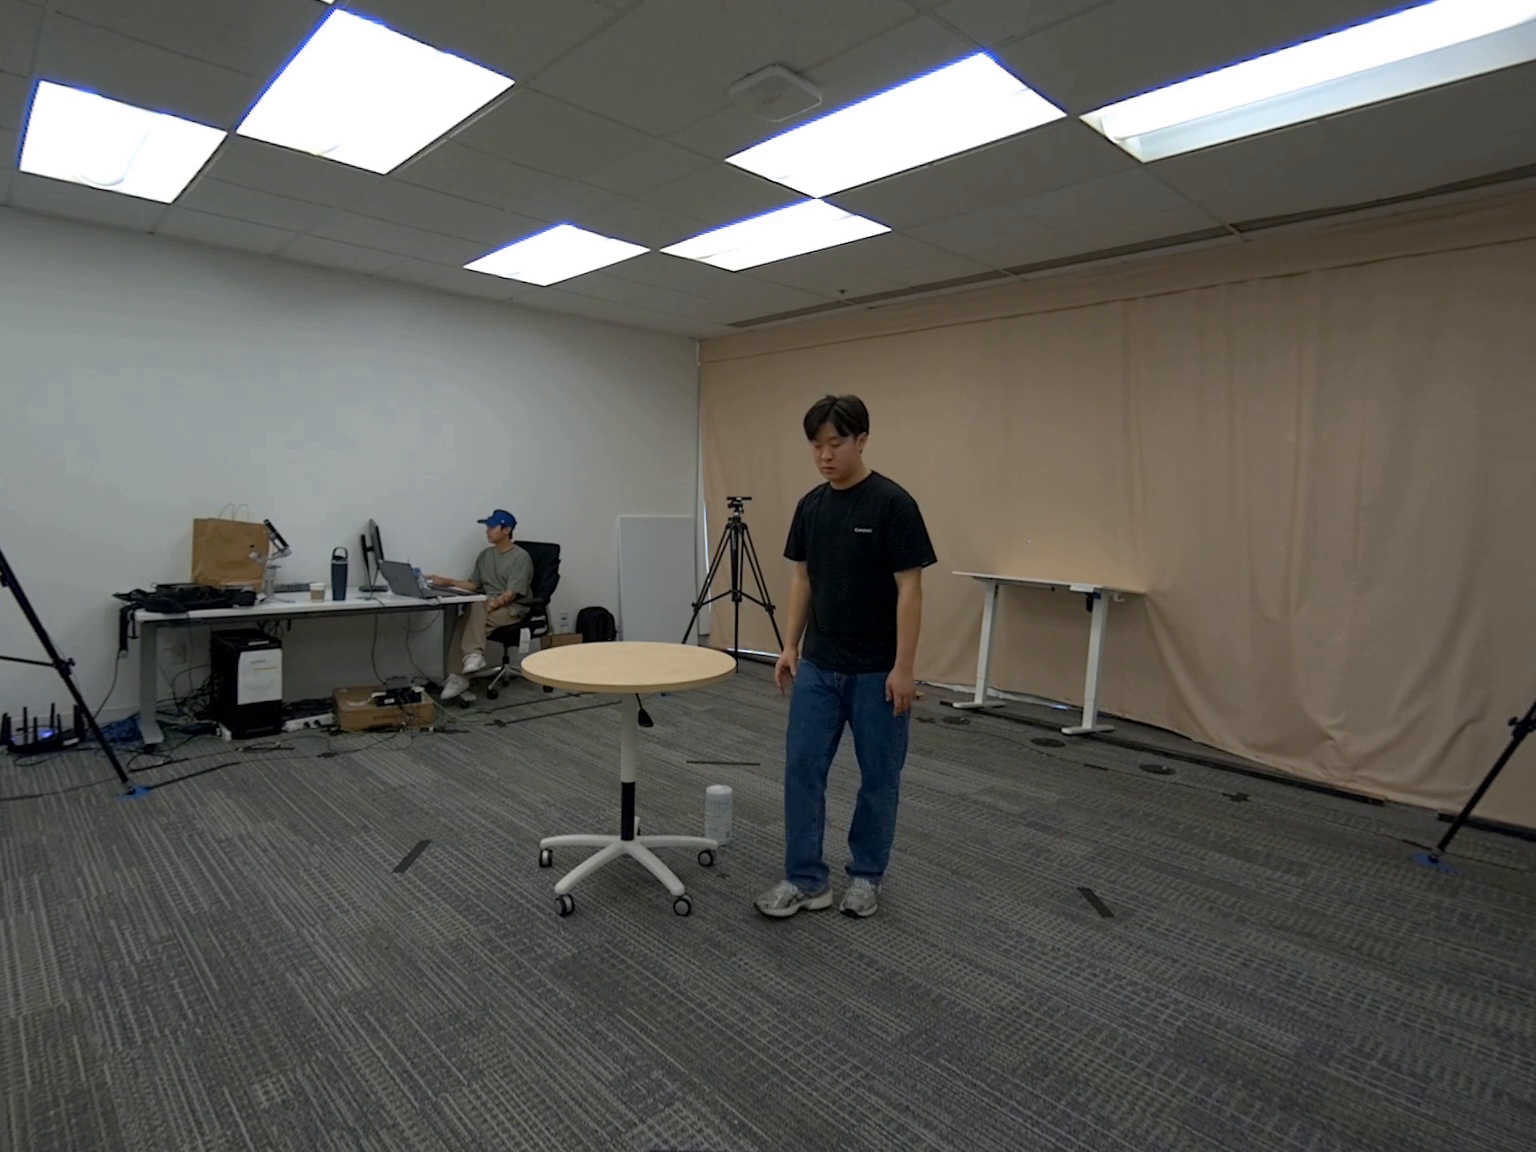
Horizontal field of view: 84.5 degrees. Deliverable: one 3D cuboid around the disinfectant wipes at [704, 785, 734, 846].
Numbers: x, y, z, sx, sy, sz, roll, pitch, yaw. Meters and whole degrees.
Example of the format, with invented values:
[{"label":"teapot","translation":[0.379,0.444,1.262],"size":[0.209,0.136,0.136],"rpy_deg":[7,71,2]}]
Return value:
[{"label":"disinfectant wipes","translation":[-0.204,0.976,3.421],"size":[0.118,0.217,0.118],"rpy_deg":[0,3,-1]}]
